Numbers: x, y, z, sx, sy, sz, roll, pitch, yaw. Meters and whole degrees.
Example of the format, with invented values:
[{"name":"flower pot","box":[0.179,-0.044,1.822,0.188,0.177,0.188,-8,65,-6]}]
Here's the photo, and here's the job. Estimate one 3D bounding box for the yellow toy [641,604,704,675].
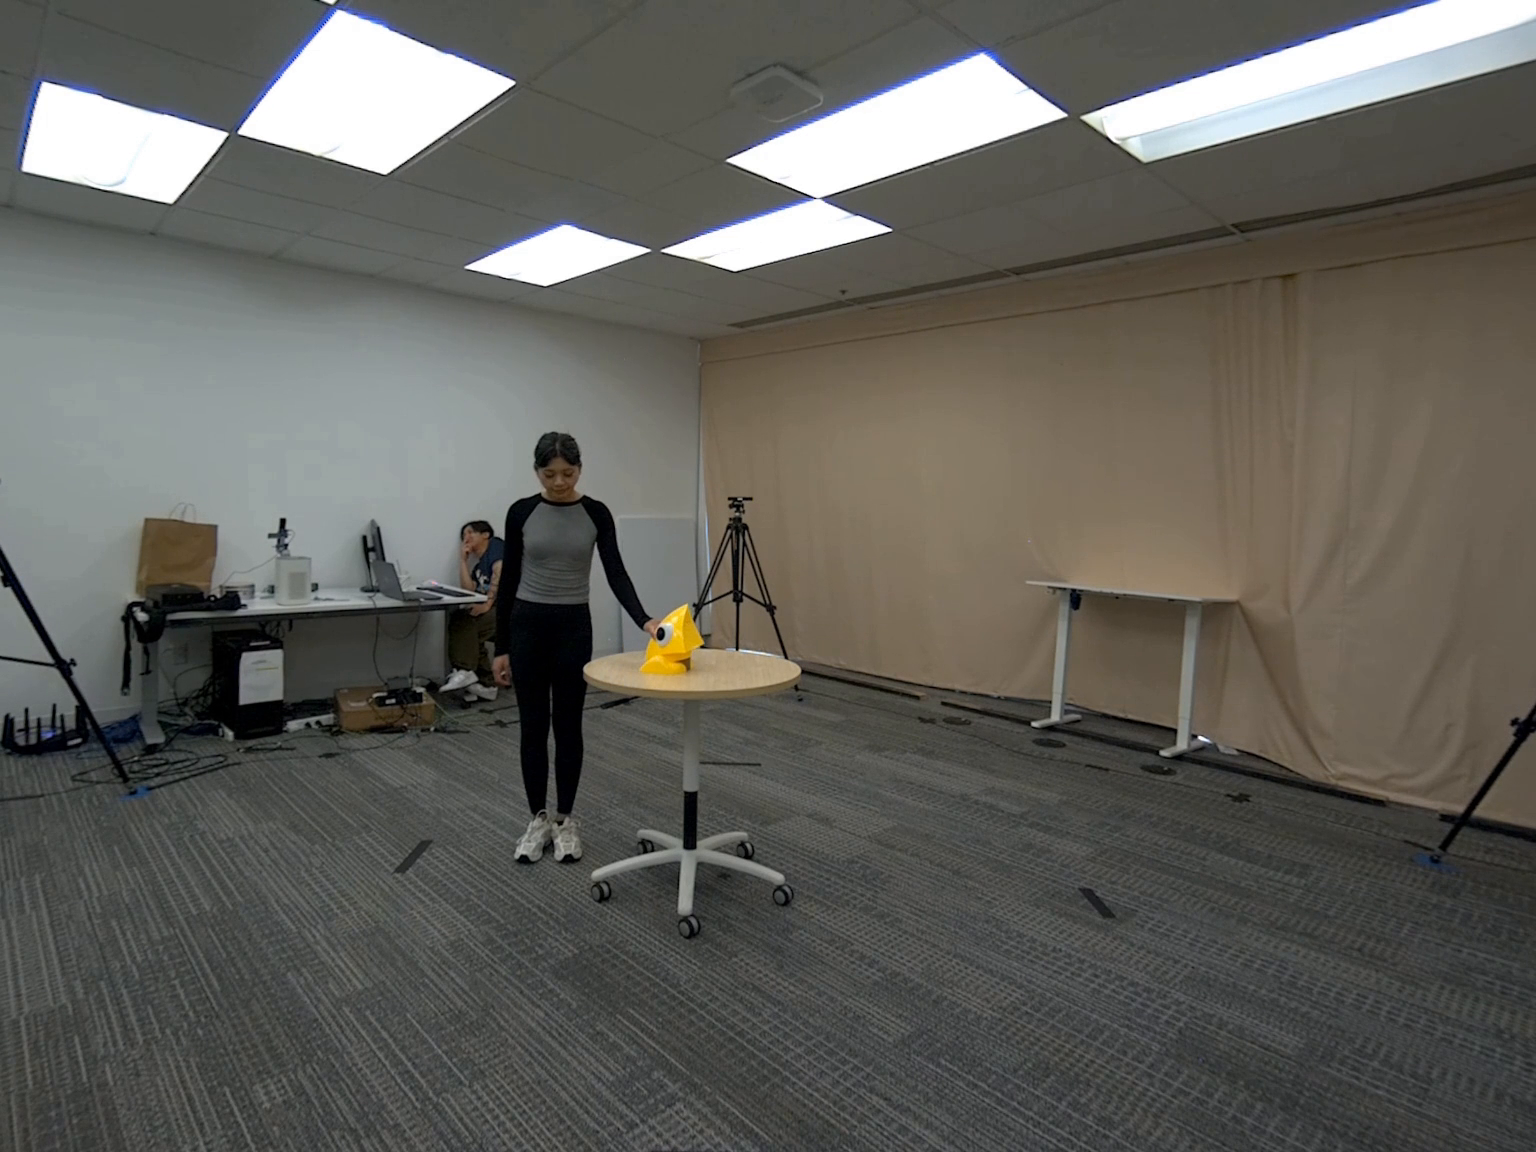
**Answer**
[{"name":"yellow toy","box":[-0.348,0.210,2.942,0.196,0.230,0.202,3,3,16]}]
